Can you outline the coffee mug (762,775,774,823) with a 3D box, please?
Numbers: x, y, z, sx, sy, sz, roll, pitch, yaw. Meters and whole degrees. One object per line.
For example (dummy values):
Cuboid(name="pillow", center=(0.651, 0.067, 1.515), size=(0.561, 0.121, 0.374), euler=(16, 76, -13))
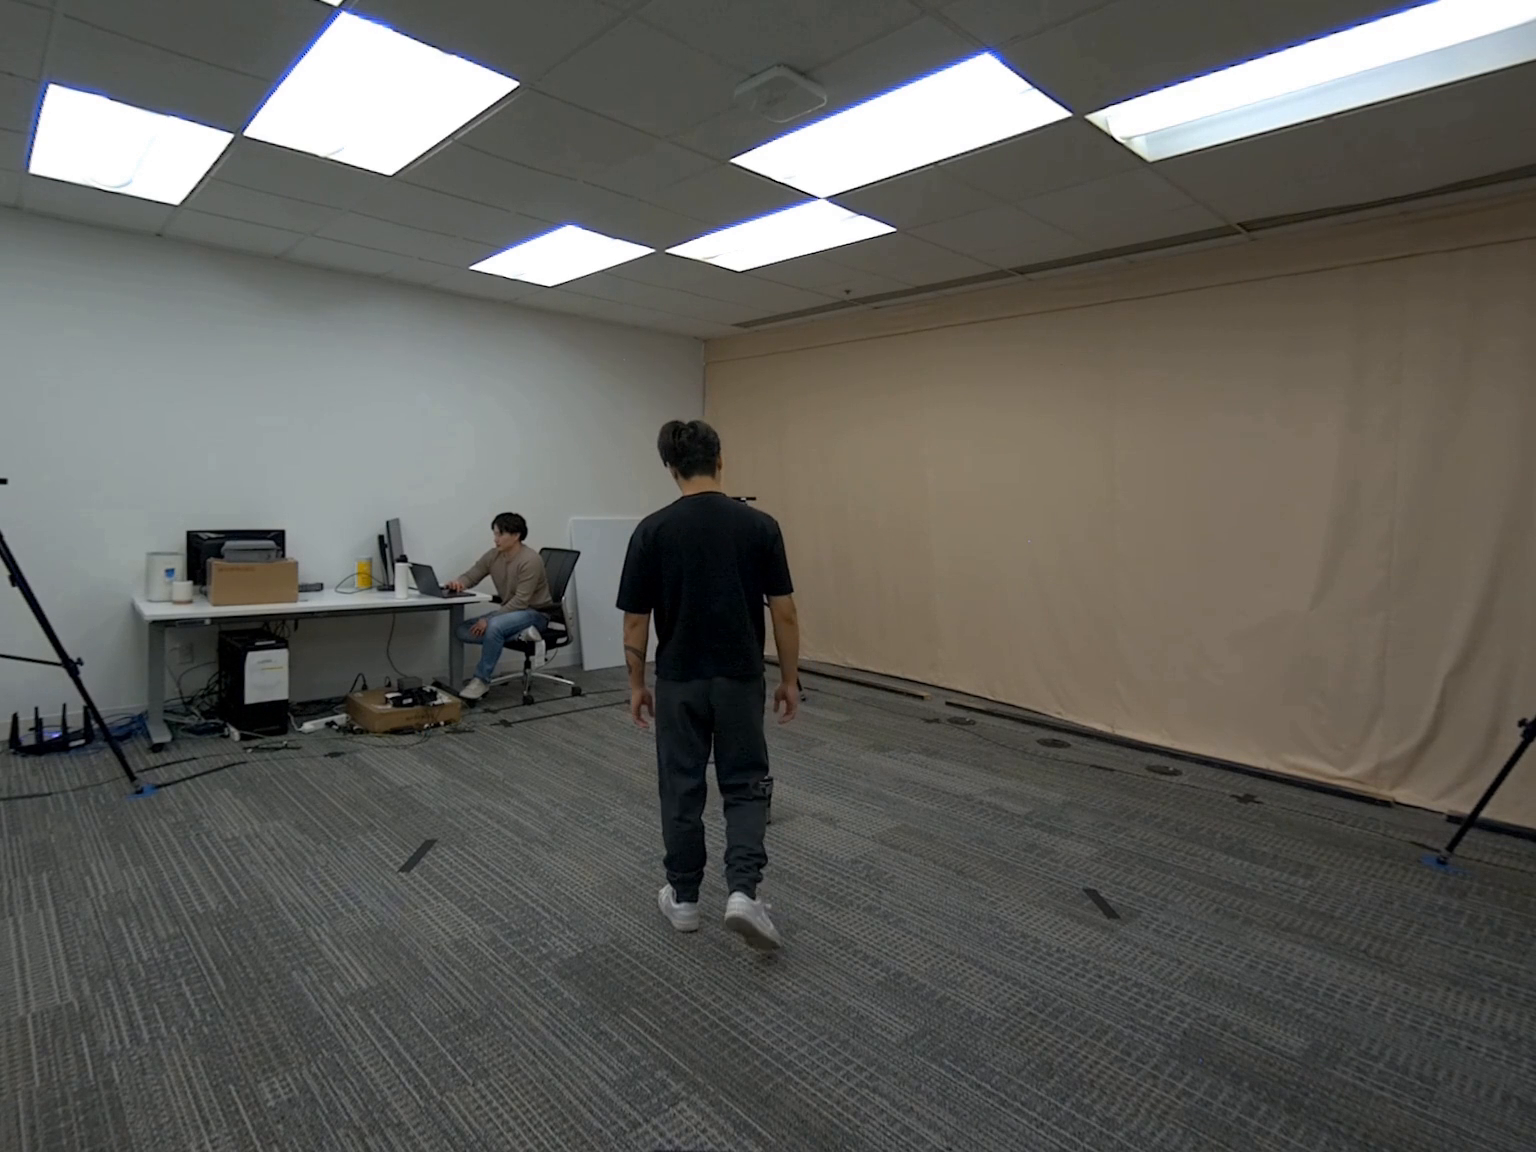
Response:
Cuboid(name="coffee mug", center=(-0.042, 0.969, 3.620), size=(0.090, 0.203, 0.119), euler=(8, 3, 42))
